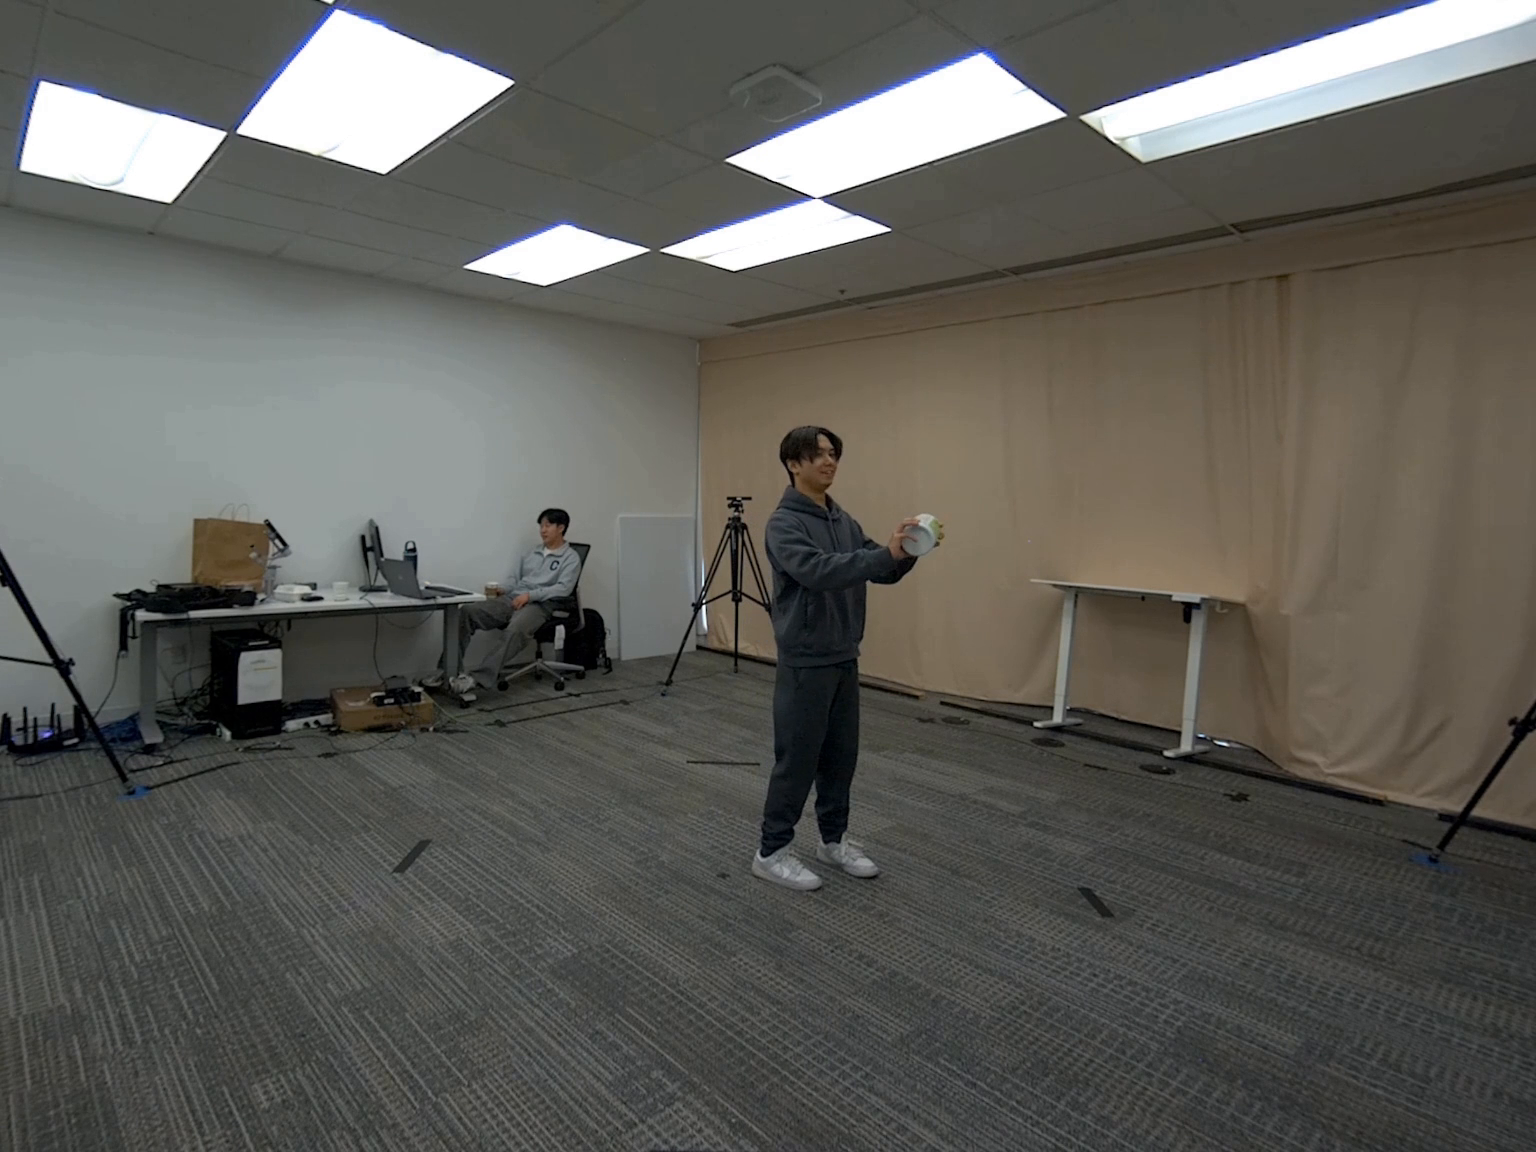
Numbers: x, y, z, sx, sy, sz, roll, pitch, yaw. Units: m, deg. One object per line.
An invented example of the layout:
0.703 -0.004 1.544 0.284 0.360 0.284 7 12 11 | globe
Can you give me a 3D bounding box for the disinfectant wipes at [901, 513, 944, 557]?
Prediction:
0.501 -0.139 2.803 0.119 0.117 0.216 2 13 15 | disinfectant wipes
